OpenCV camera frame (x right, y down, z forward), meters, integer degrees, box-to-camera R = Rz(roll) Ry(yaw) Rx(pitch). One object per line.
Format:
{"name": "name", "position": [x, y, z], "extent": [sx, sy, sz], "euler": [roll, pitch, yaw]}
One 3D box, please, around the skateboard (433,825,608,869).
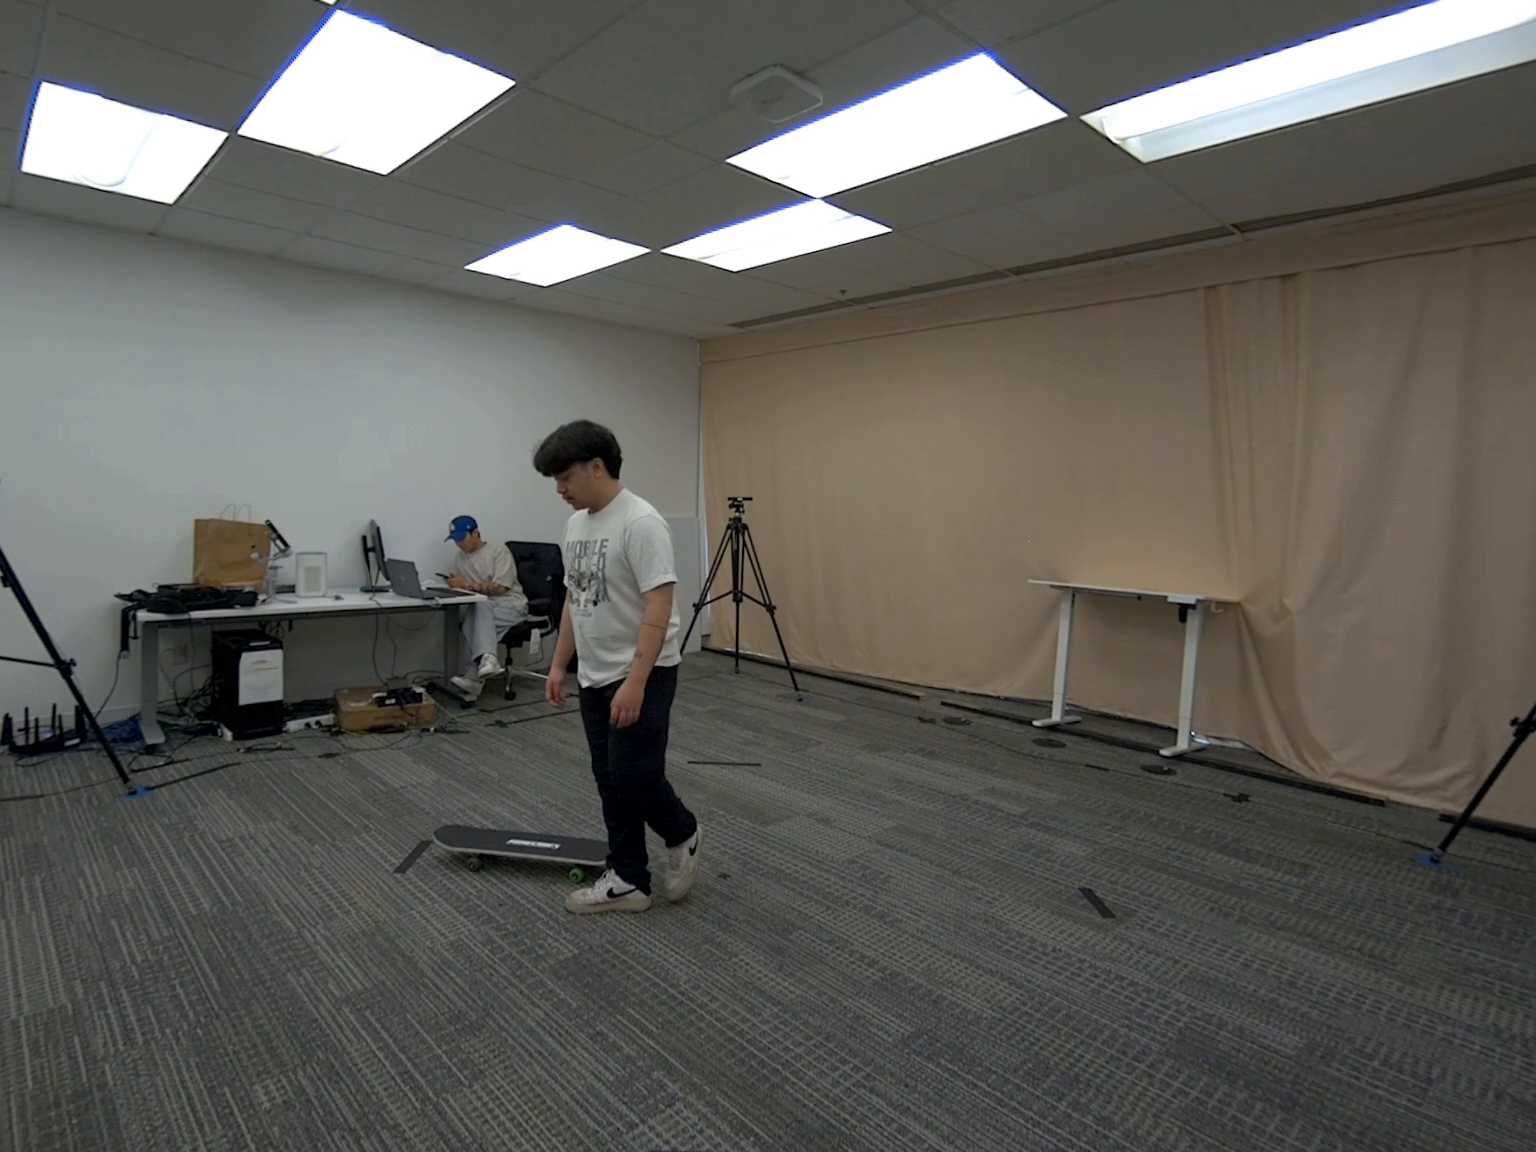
{"name": "skateboard", "position": [-0.876, 1.031, 3.133], "extent": [0.793, 0.110, 0.192], "euler": [3, 6, 11]}
